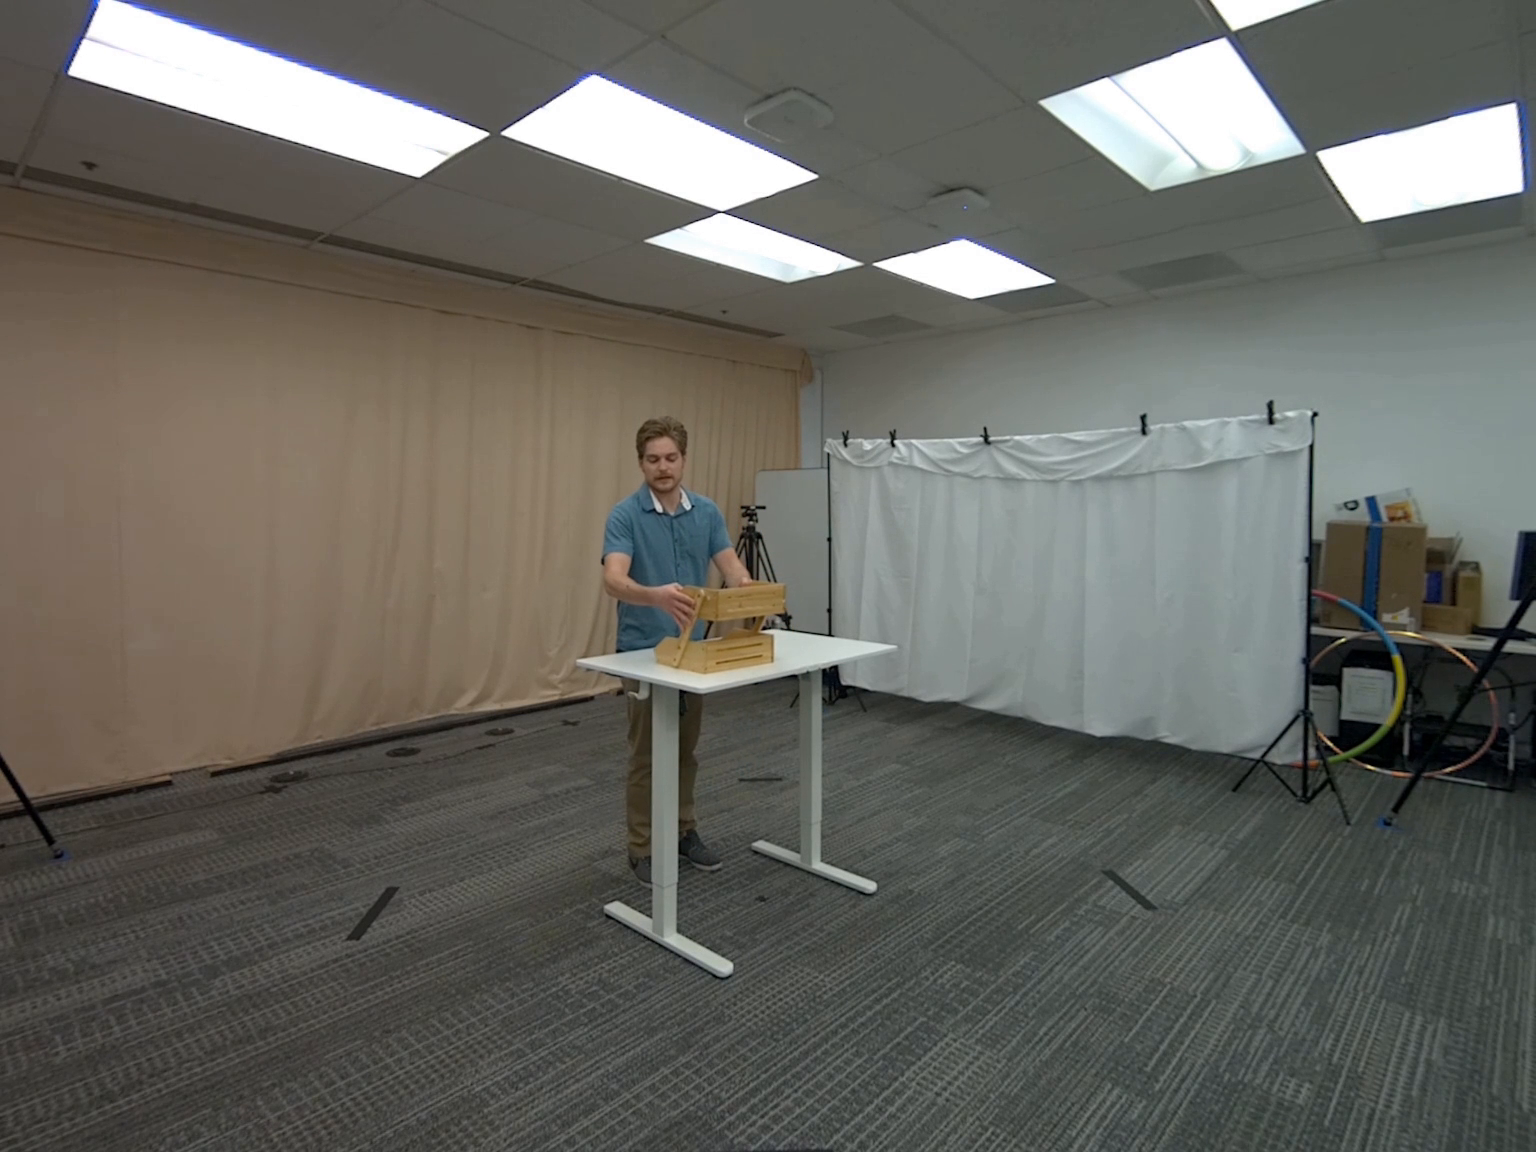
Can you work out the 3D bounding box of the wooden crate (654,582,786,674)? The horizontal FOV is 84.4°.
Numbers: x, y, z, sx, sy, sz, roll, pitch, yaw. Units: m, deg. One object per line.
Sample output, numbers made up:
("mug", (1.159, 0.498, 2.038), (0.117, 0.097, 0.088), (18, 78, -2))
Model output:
("wooden crate", (-0.151, 0.152, 2.711), (0.314, 0.272, 0.312), (-3, 6, -44))
